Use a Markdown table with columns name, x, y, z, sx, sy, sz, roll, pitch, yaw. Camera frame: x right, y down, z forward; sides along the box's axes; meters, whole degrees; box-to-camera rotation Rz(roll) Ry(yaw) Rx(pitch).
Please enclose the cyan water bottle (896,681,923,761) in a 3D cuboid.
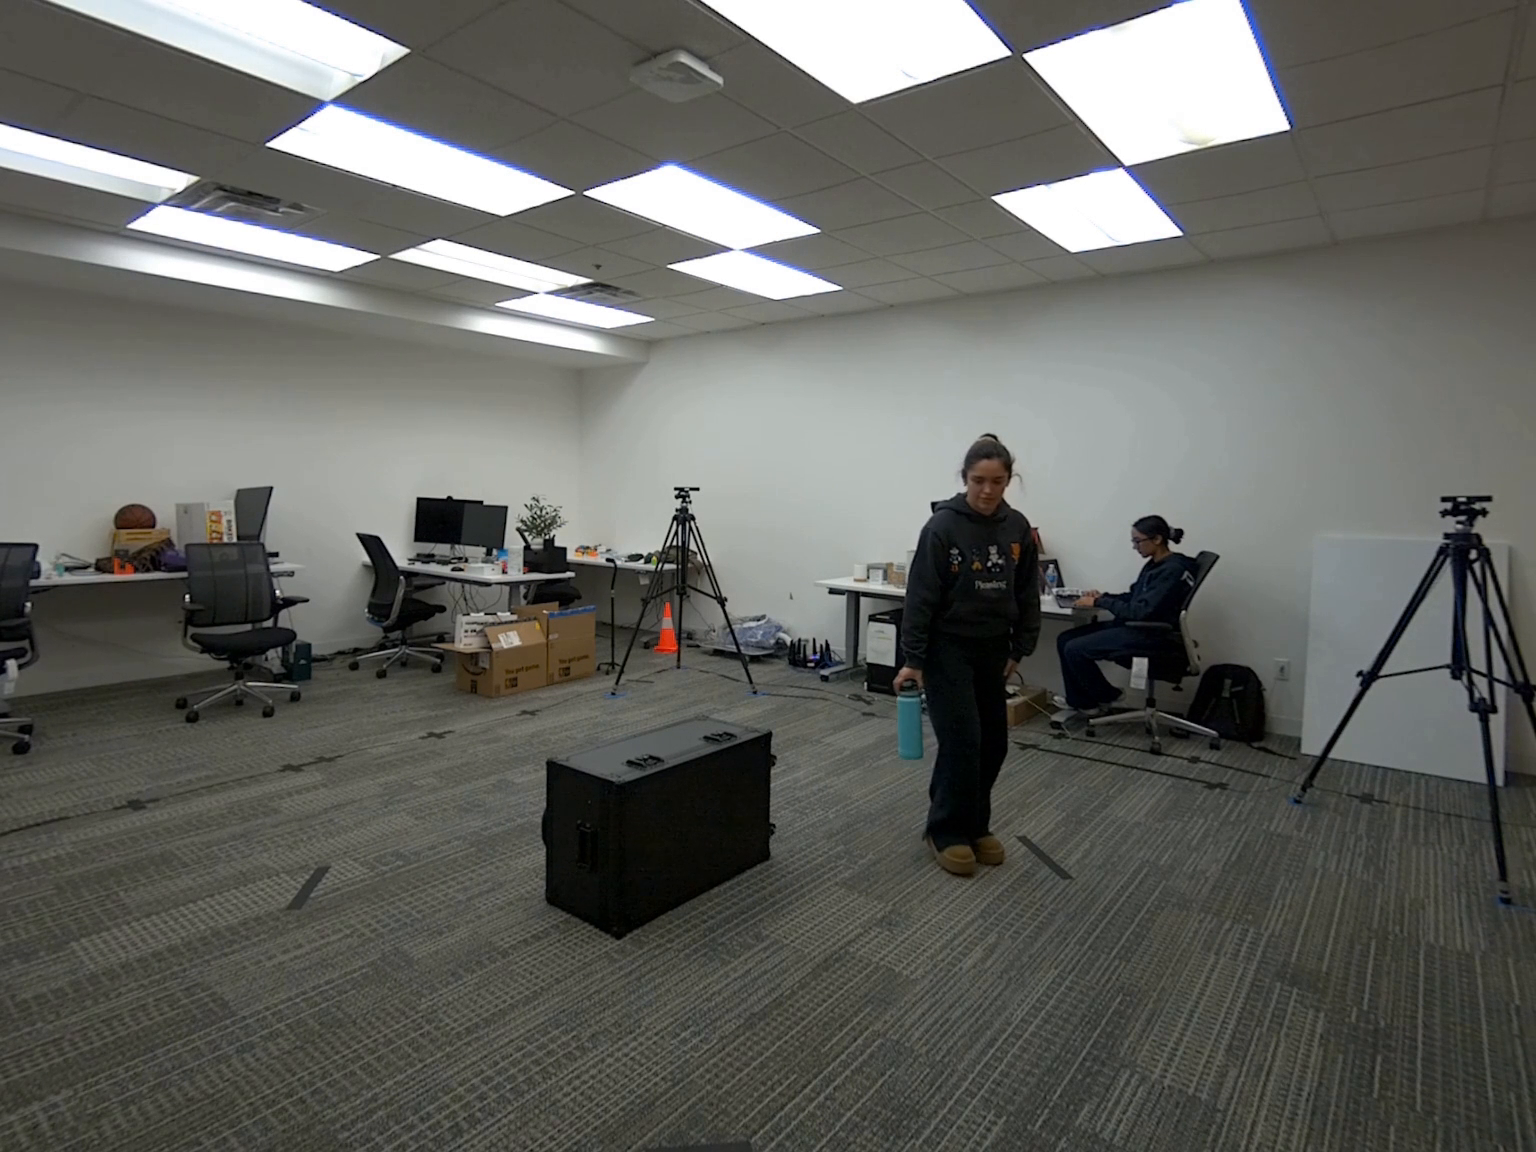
| name | x | y | z | sx | sy | sz | roll | pitch | yaw |
| --- | --- | --- | --- | --- | --- | --- | --- | --- | --- |
| cyan water bottle | 0.530 | 0.530 | 3.143 | 0.092 | 0.283 | 0.092 | -3 | 1 | -2 |
